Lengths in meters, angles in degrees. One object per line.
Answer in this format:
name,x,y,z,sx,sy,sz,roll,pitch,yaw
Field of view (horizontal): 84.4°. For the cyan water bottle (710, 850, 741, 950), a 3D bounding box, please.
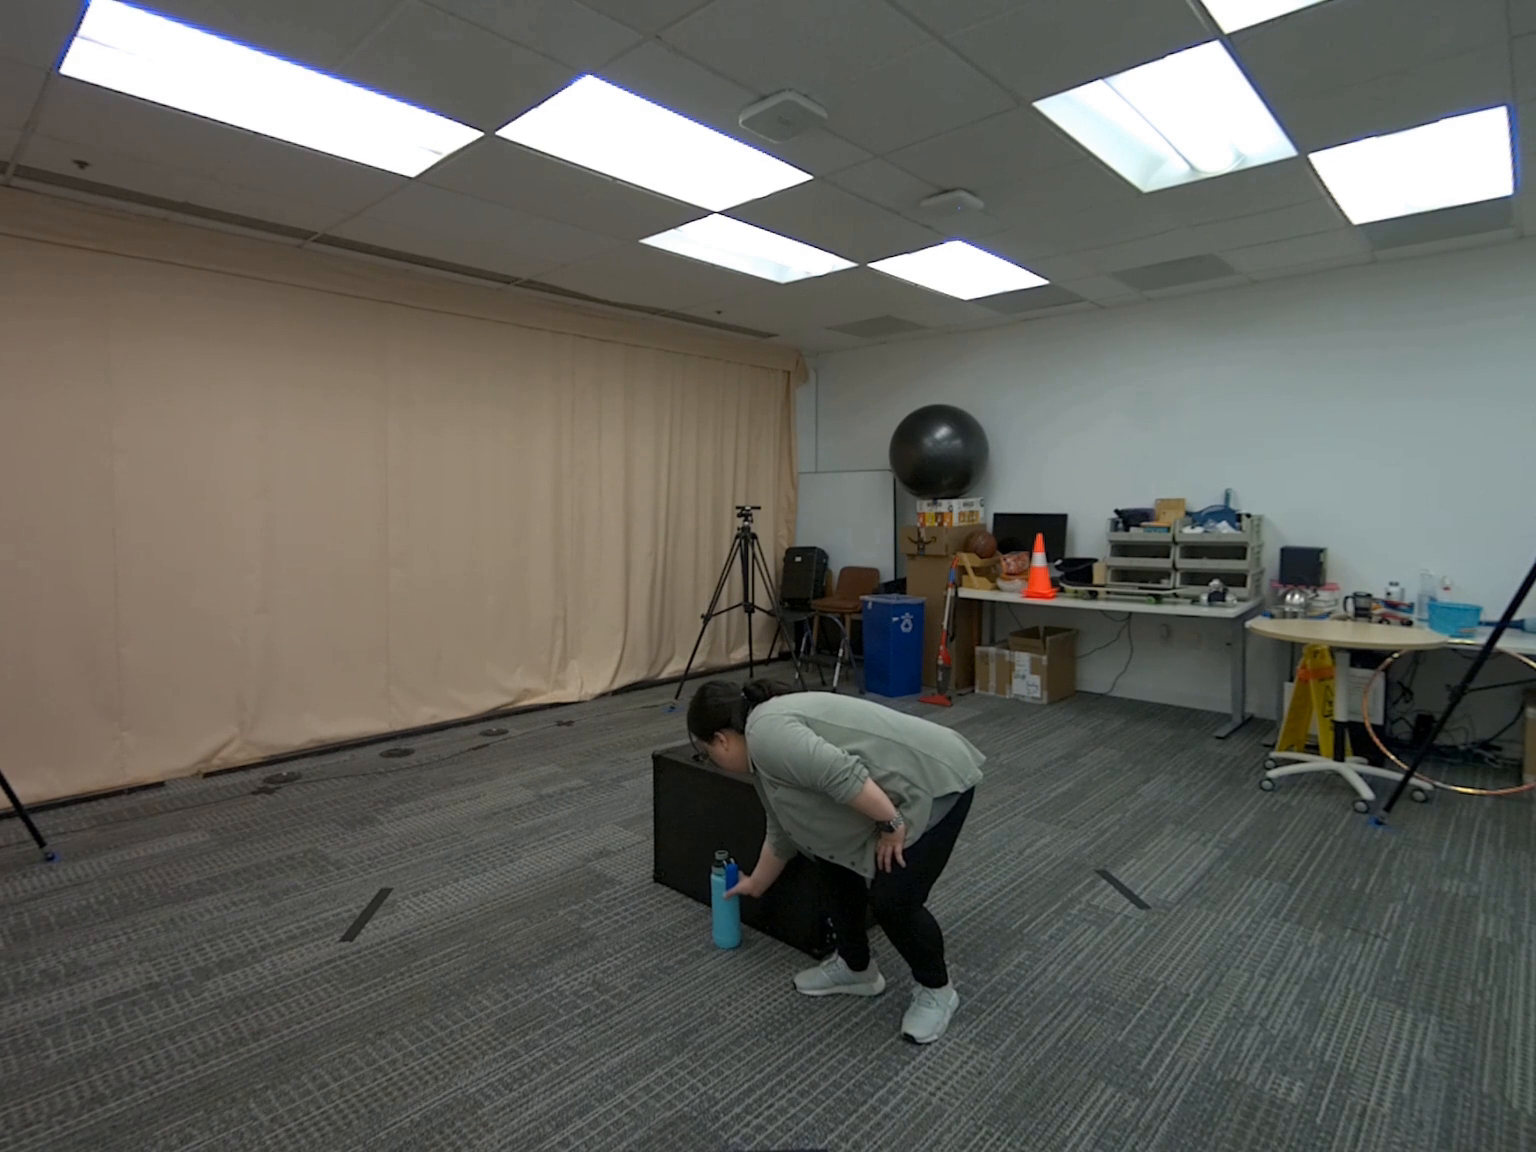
cyan water bottle,-0.133,1.026,2.697,0.092,0.283,0.092,-2,3,-2
